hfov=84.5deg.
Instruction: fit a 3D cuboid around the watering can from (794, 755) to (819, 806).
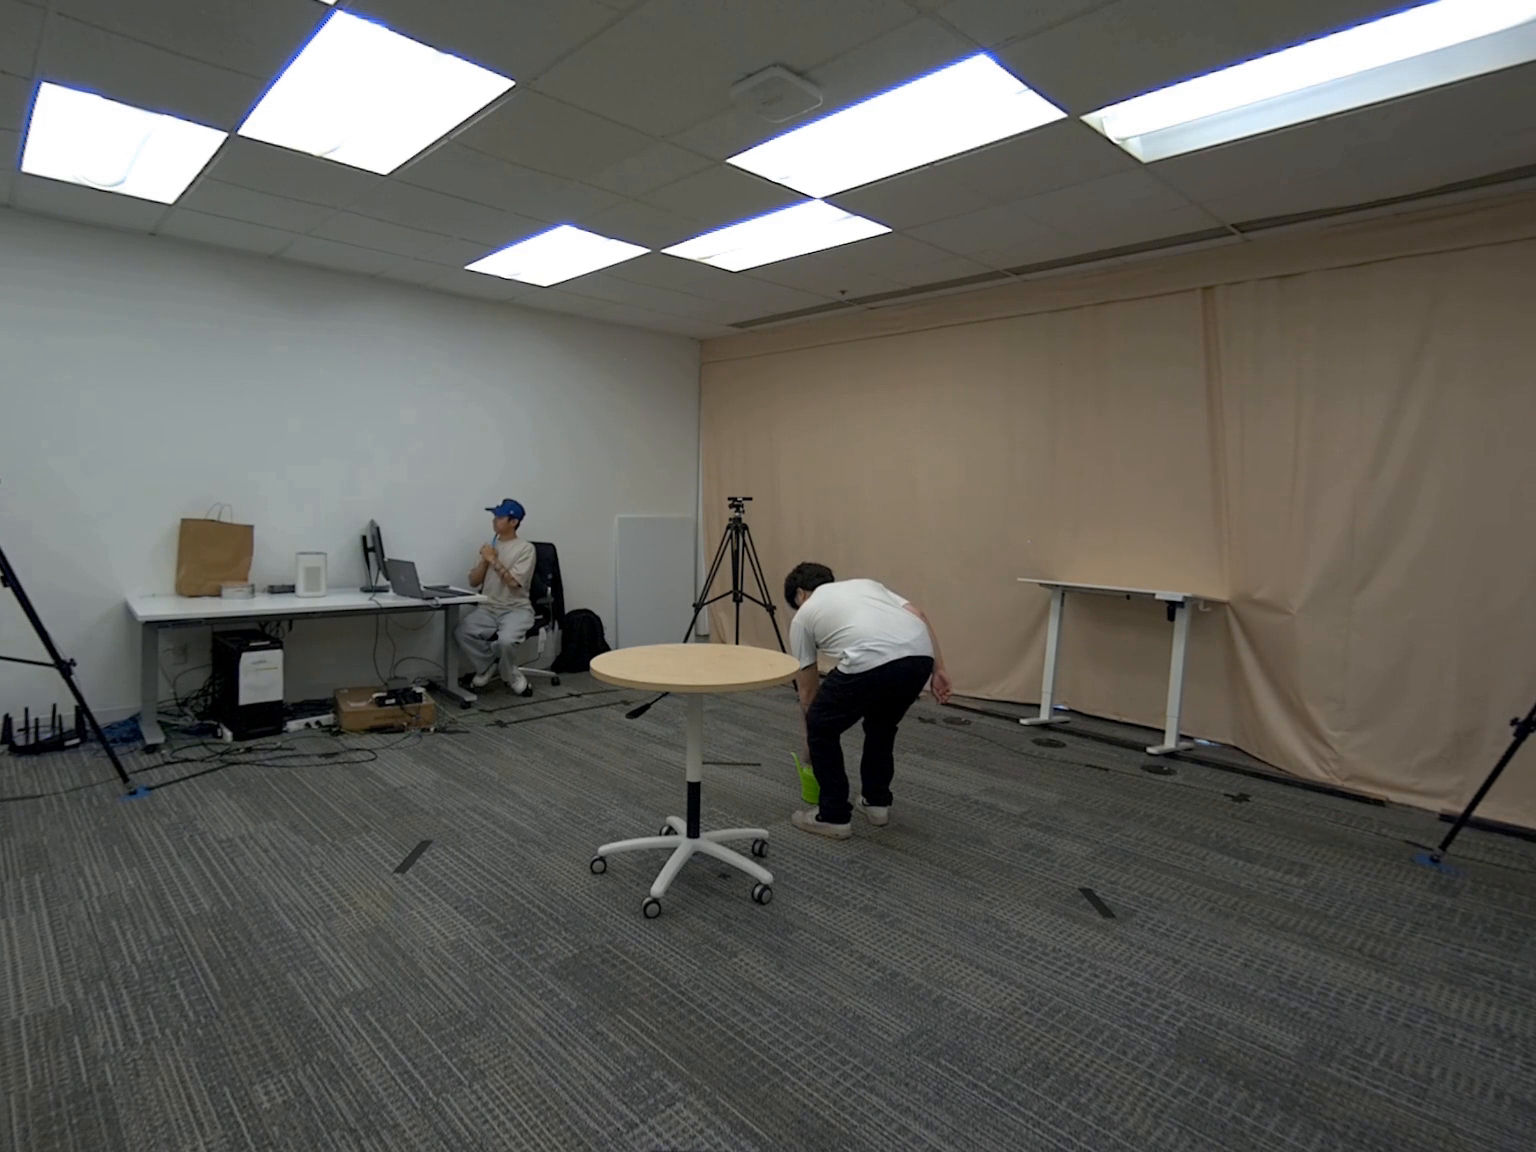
[{"bbox_3d":[0.186,0.957,3.983,0.097,0.176,0.283,-2,9,-14],"label":"watering can"}]
